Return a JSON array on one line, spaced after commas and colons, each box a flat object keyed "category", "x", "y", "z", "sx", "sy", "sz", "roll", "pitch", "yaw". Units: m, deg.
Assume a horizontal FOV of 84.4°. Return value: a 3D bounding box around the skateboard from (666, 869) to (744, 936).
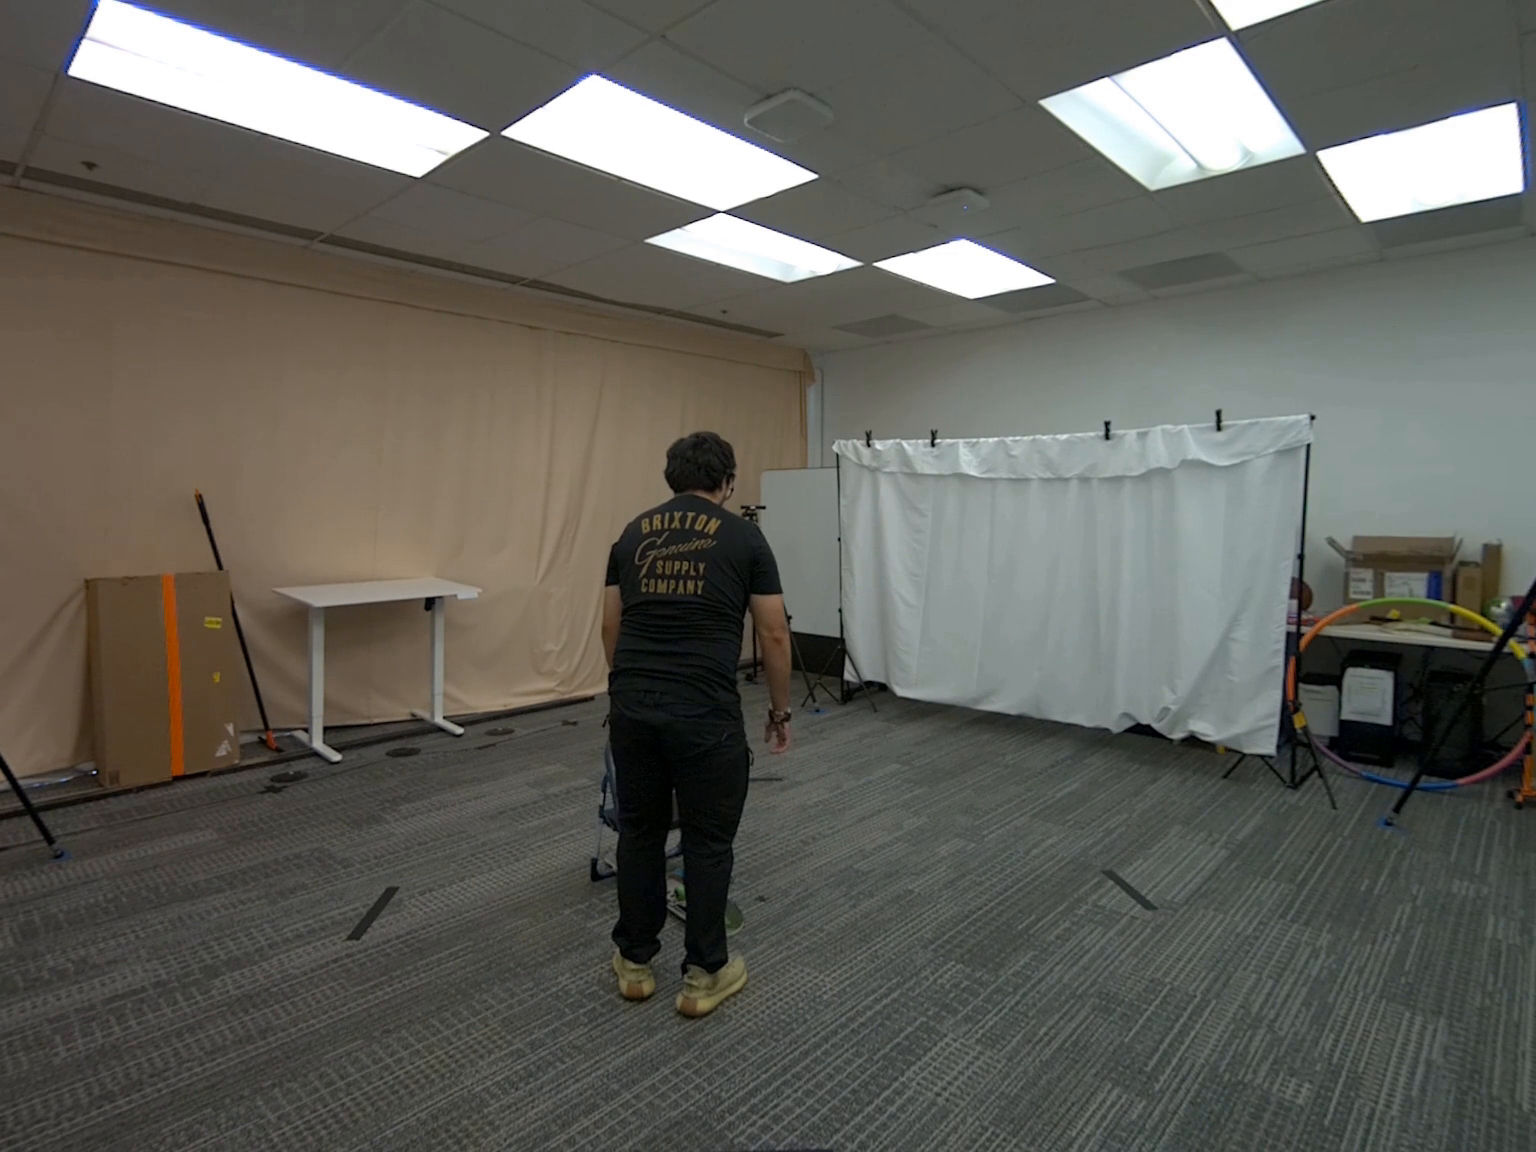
[{"category": "skateboard", "x": -0.368, "y": 1.093, "z": 3.038, "sx": 0.188, "sy": 0.110, "sz": 0.811, "roll": -3, "pitch": 6, "yaw": -39}]
